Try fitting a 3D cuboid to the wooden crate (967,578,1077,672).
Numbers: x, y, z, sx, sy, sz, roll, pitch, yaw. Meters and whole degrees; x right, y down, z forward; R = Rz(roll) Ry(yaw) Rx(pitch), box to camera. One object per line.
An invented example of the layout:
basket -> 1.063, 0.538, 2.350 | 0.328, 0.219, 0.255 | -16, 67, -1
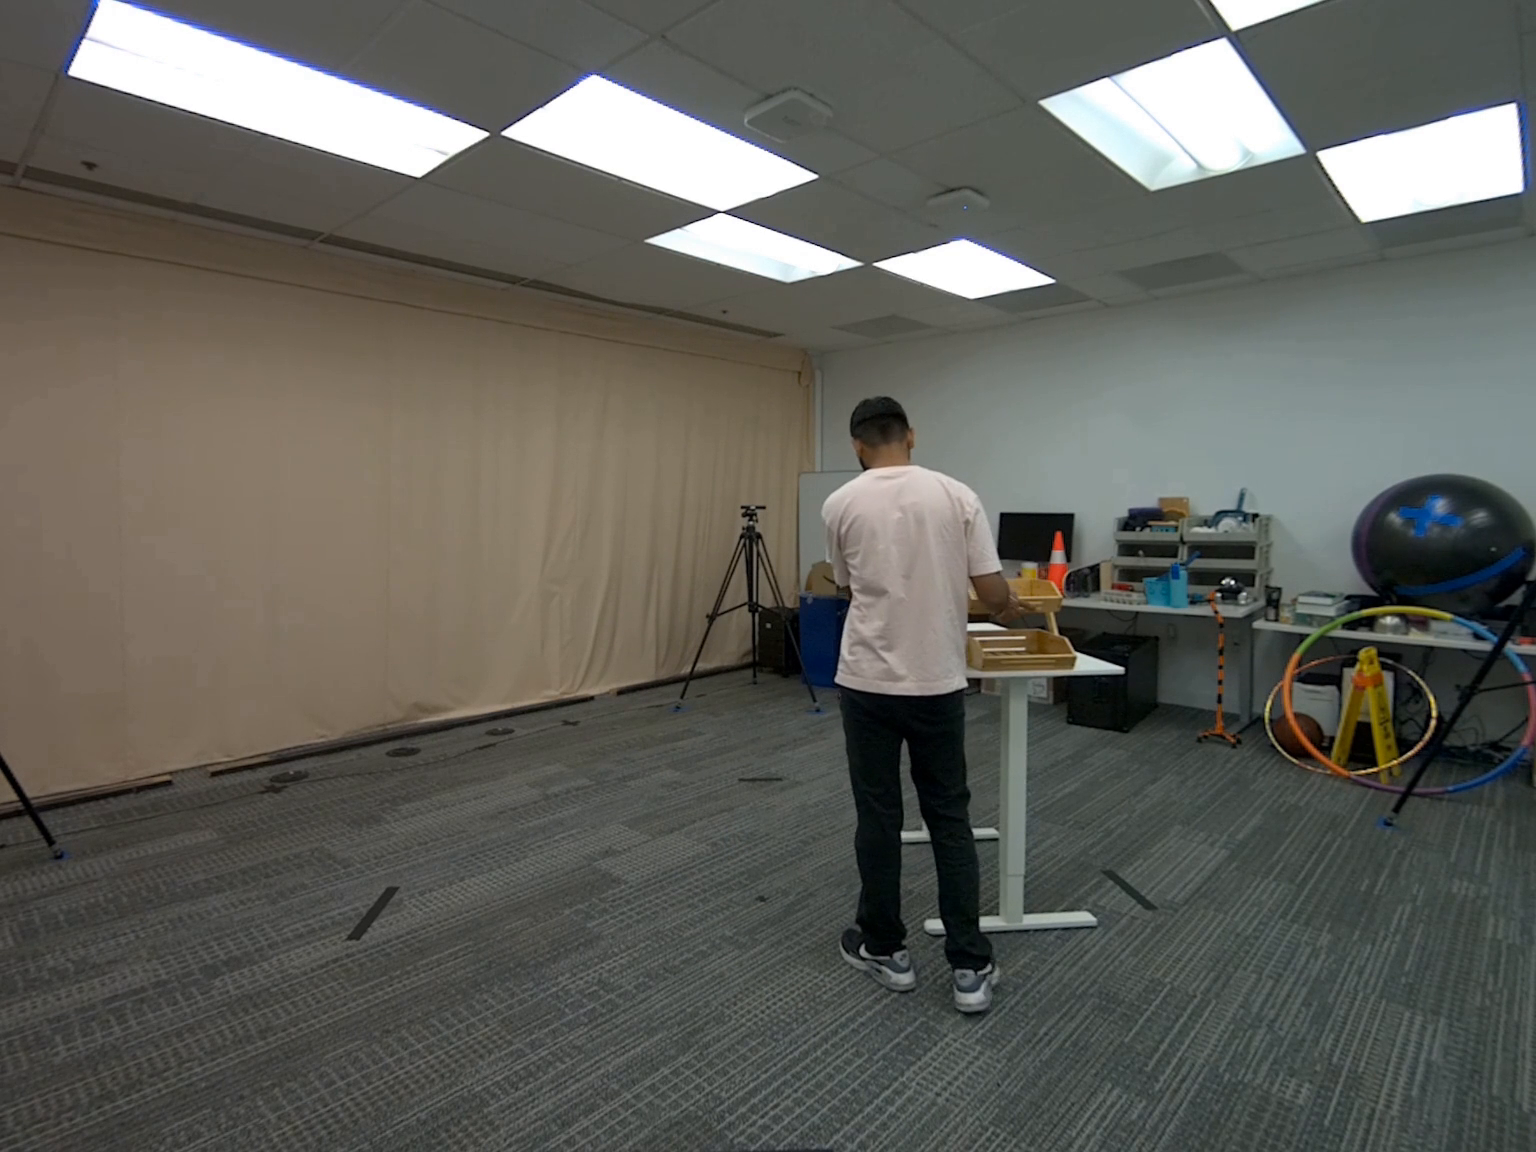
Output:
wooden crate -> 0.798, 0.158, 2.718 | 0.322, 0.272, 0.306 | -1, 5, -9
